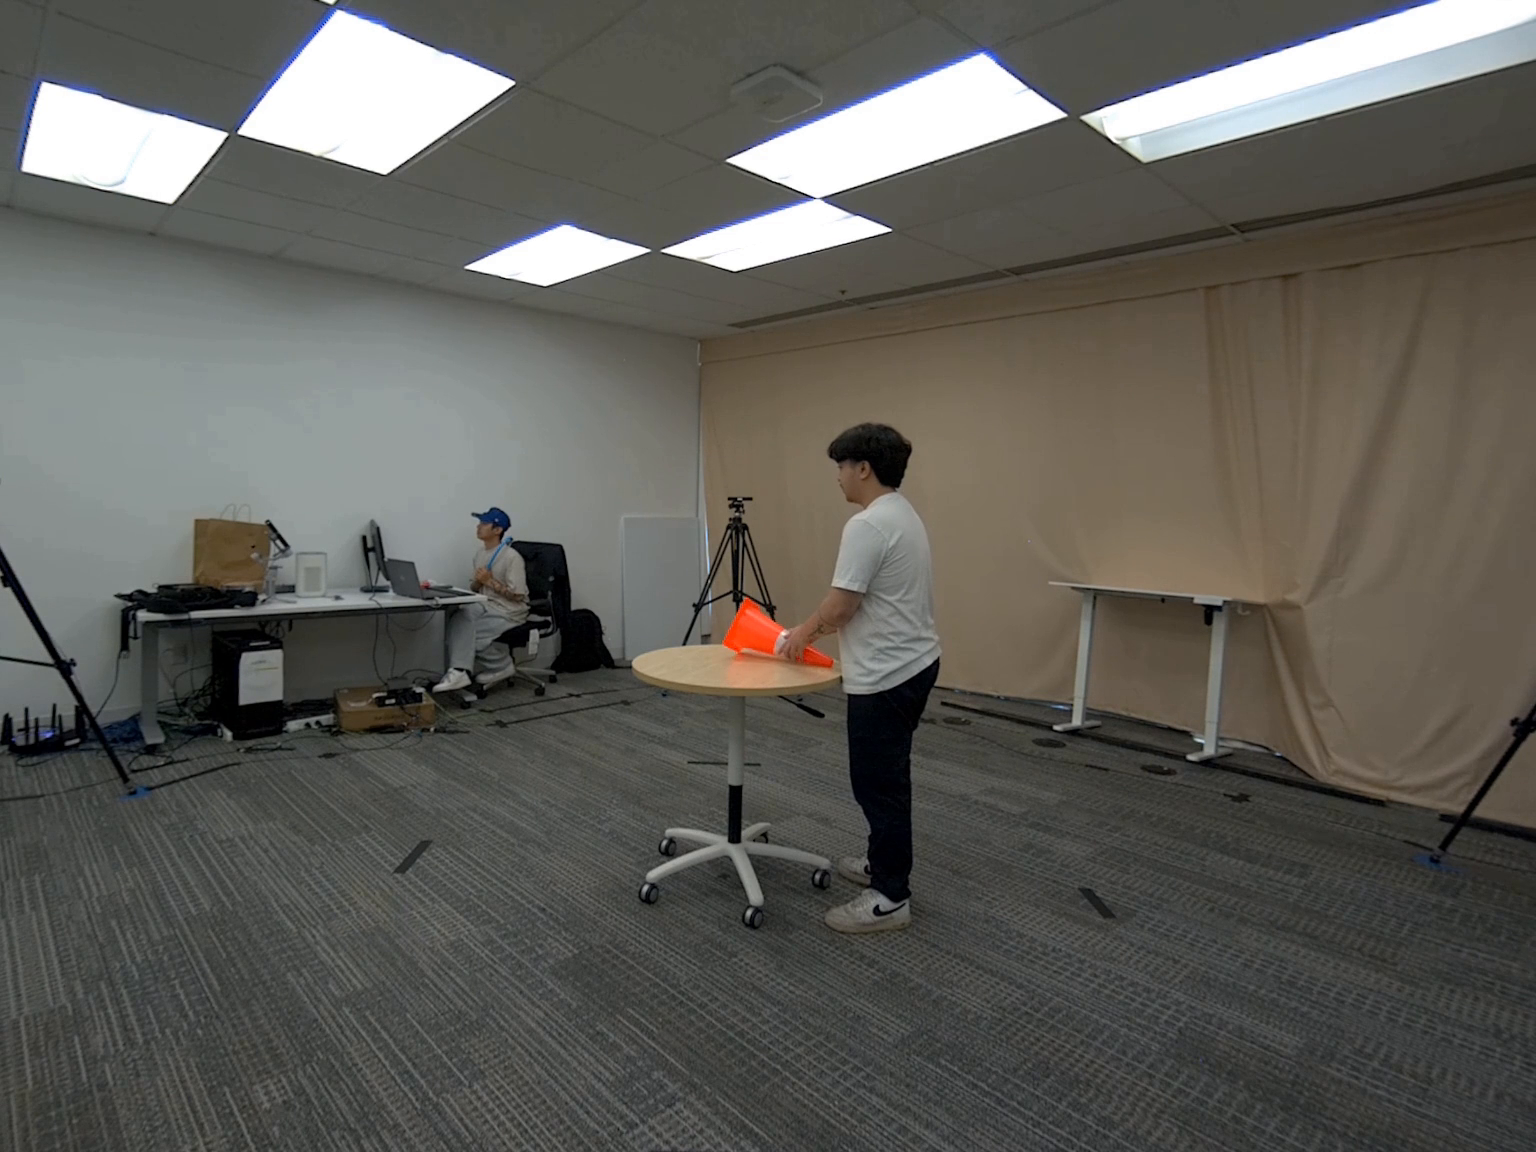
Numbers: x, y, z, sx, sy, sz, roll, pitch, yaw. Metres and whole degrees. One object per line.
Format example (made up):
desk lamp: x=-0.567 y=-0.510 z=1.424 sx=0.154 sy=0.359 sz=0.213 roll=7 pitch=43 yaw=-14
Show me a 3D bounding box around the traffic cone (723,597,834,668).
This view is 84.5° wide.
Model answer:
traffic cone: x=0.066 y=0.251 z=3.100 sx=0.392 sy=0.204 sz=0.200 roll=20 pitch=-10 yaw=23
